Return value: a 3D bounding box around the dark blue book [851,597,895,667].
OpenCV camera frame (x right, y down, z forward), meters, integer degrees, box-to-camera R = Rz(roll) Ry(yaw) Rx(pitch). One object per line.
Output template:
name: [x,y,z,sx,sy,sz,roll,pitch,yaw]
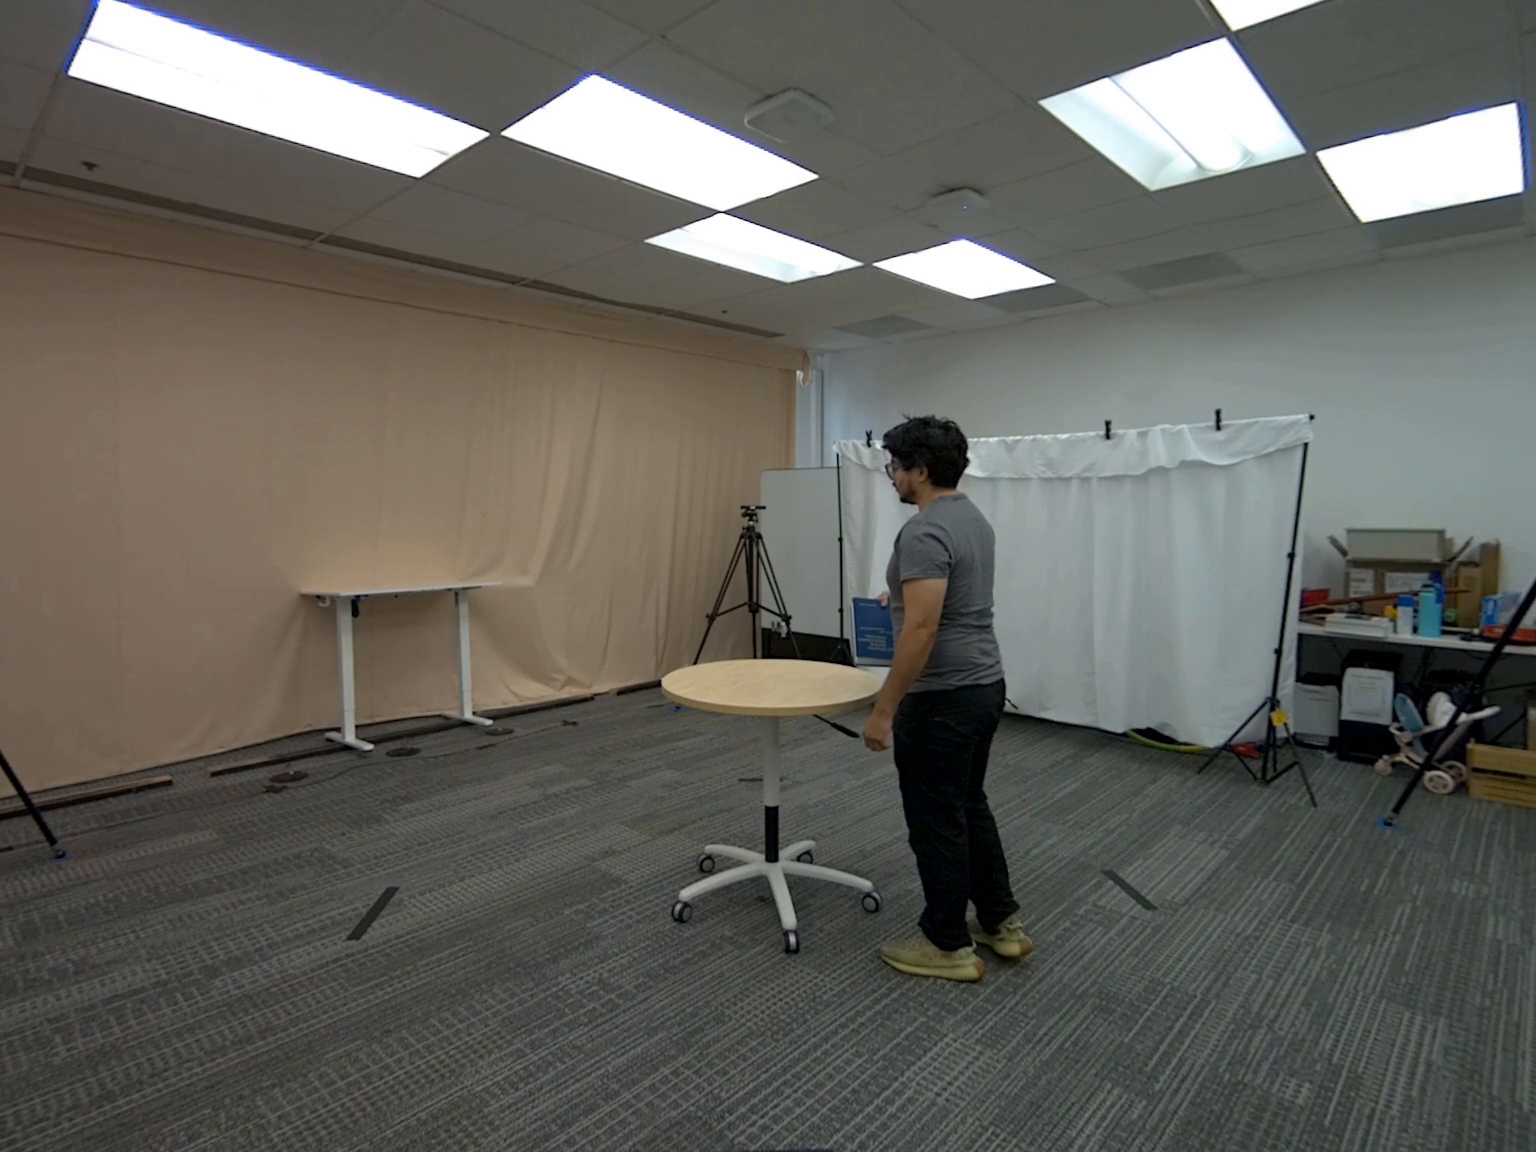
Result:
dark blue book: [0.374,0.184,2.758,0.164,0.249,0.044,5,-39,1]
